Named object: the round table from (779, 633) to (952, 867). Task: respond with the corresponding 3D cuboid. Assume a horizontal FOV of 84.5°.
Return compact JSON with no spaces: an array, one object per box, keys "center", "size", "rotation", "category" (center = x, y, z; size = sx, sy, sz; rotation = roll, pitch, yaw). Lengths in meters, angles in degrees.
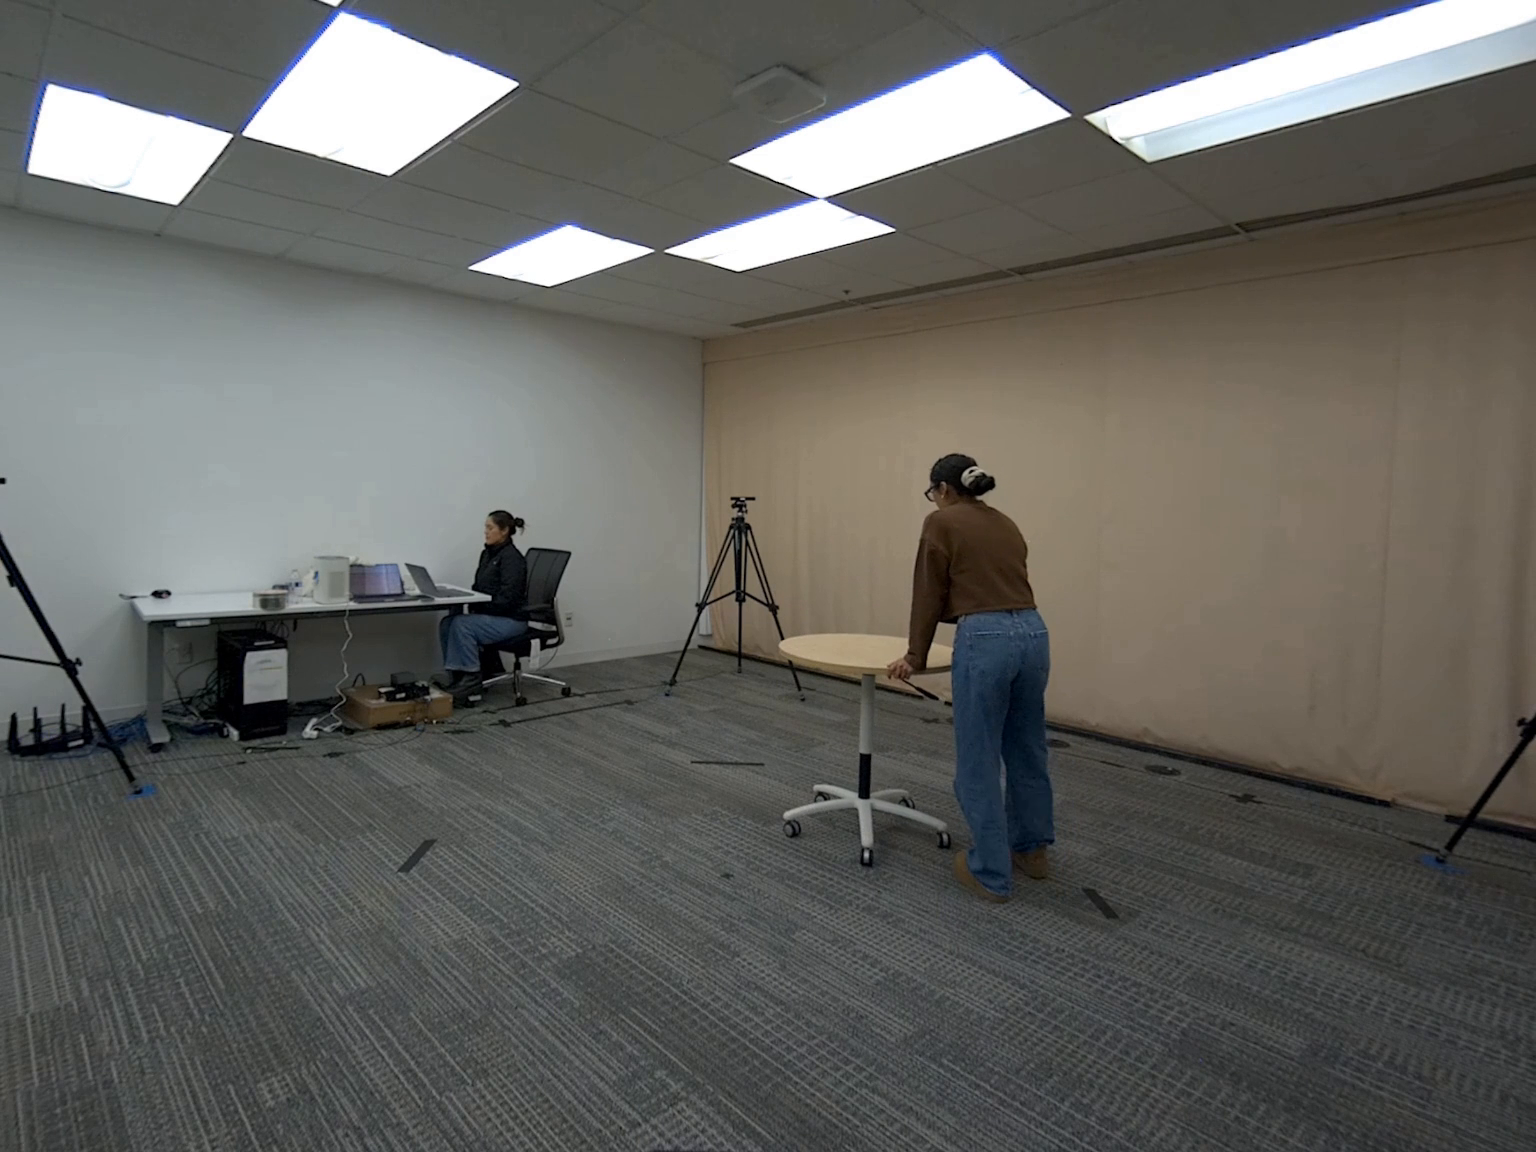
[{"center":[0.409,0.697,3.560],"size":[0.763,0.792,0.766],"rotation":[2,4,-2],"category":"round table"}]
